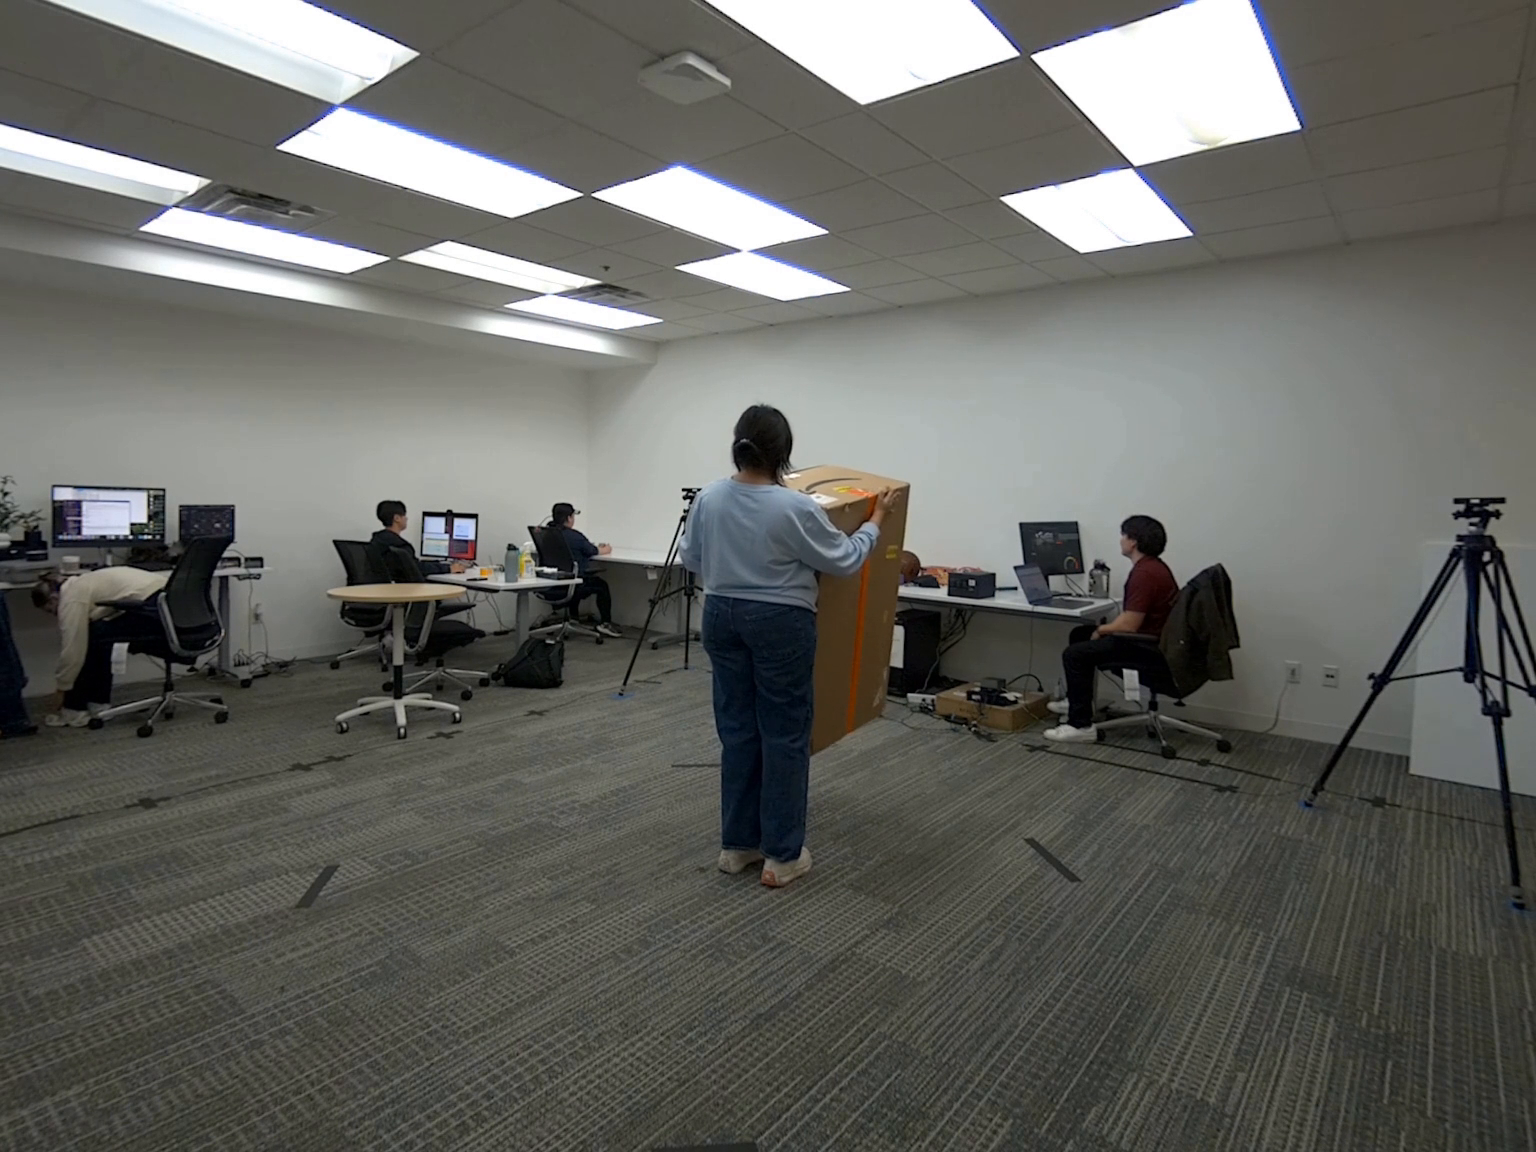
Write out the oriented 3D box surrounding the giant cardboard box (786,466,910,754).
[{"bbox_3d":[0.192,0.115,3.493,0.464,1.011,0.570,19,24,39],"label":"giant cardboard box"}]
